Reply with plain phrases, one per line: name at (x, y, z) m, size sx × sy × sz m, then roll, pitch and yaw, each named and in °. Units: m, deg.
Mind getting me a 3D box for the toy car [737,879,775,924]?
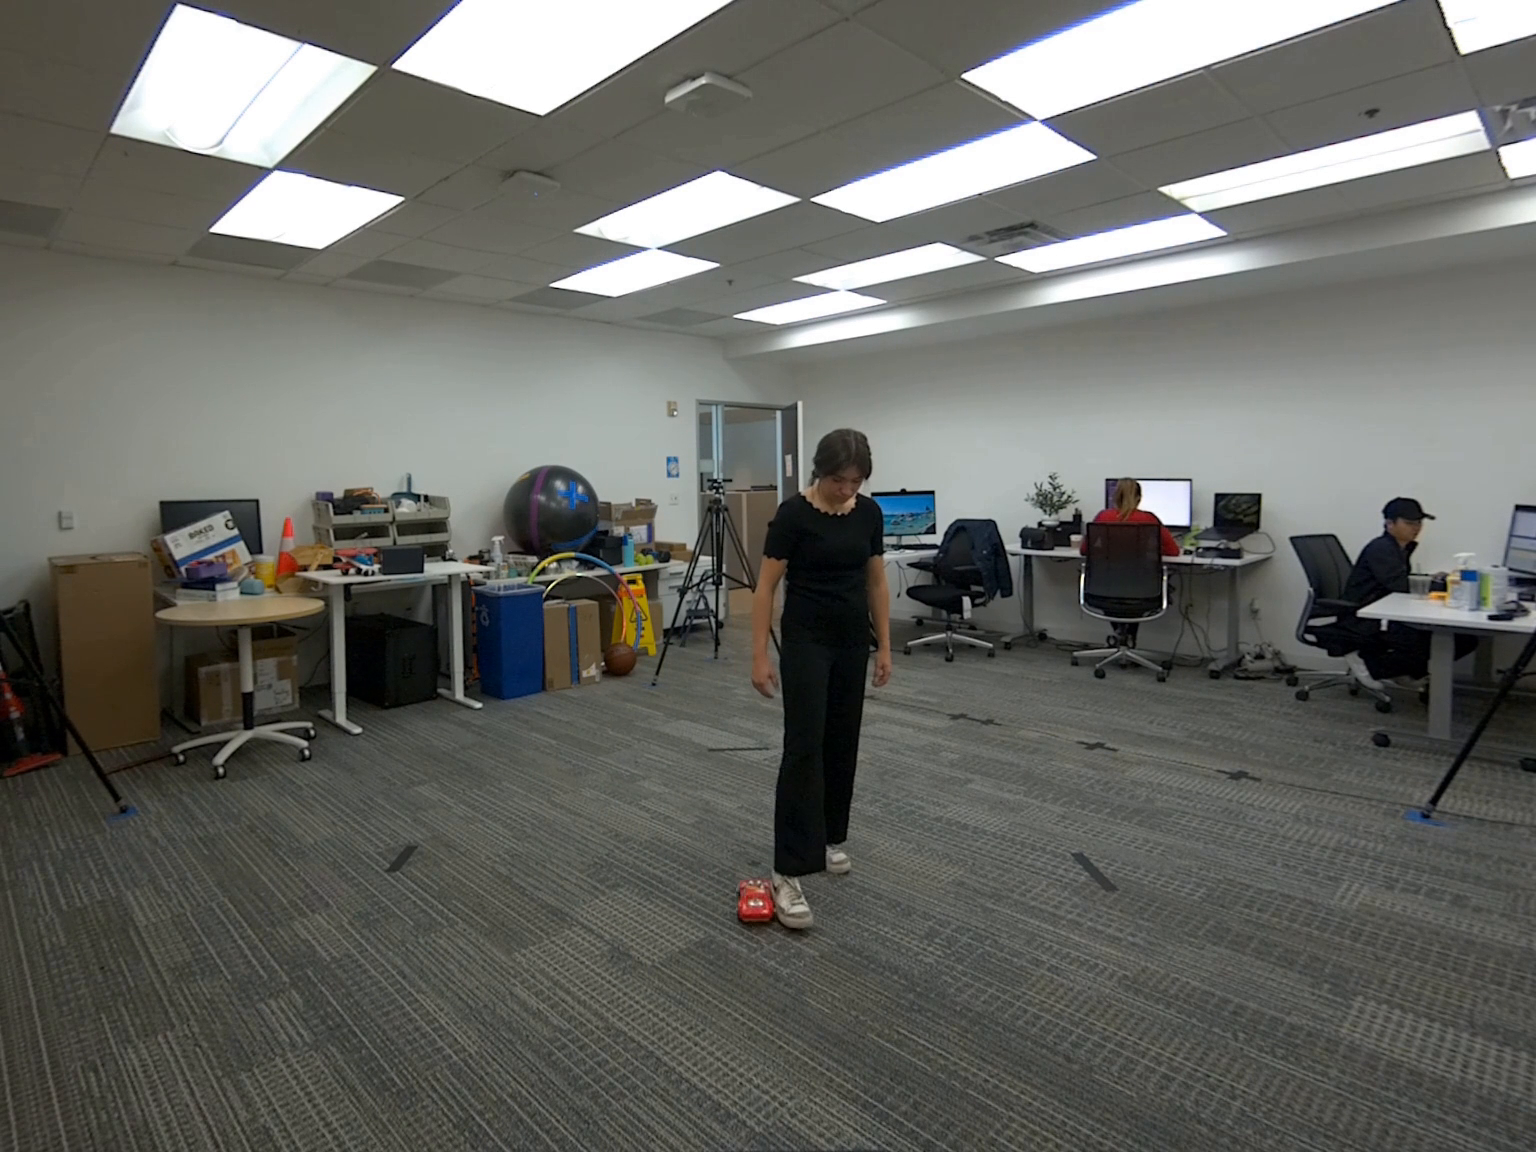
toy car at (-0.029, 1.050, 2.758) m, size 0.130 × 0.084 × 0.252 m, roll -3°, pitch -5°, yaw 1°
